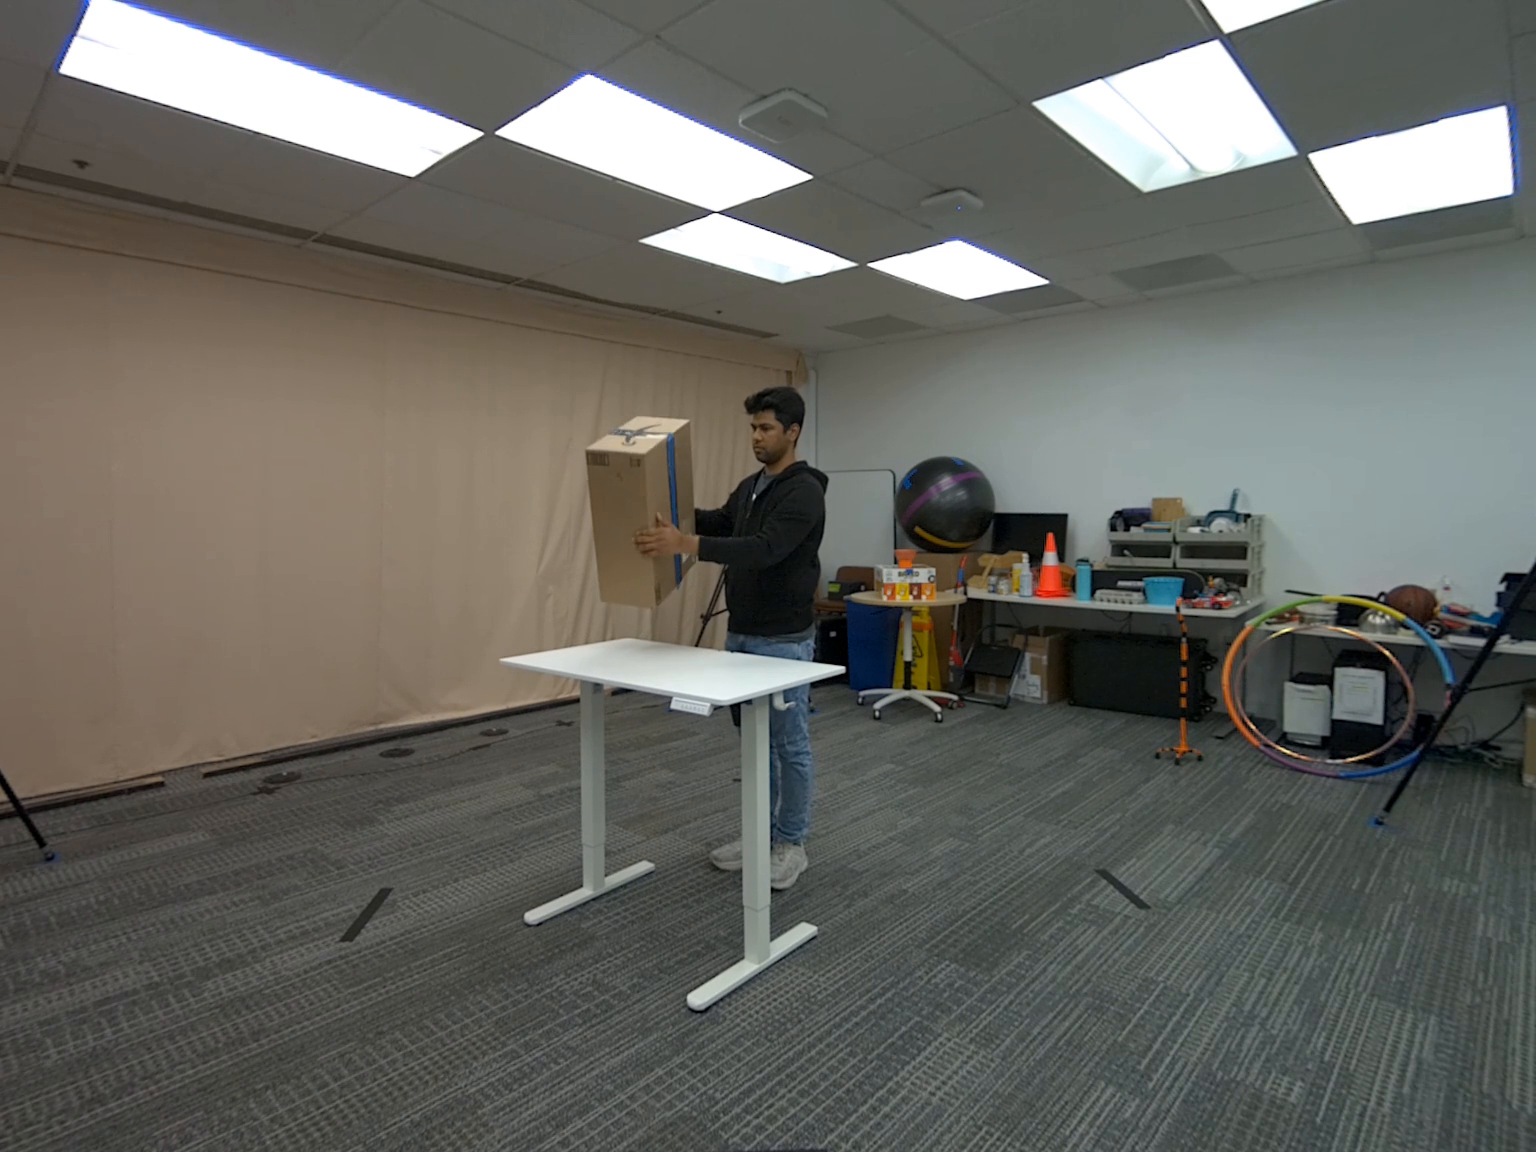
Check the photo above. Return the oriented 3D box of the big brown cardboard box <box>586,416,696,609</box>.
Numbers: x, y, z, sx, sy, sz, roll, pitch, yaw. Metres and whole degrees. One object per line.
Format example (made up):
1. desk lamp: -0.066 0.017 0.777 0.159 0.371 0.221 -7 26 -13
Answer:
1. big brown cardboard box: -0.431 -0.224 3.006 0.237 0.580 0.416 5 26 16
